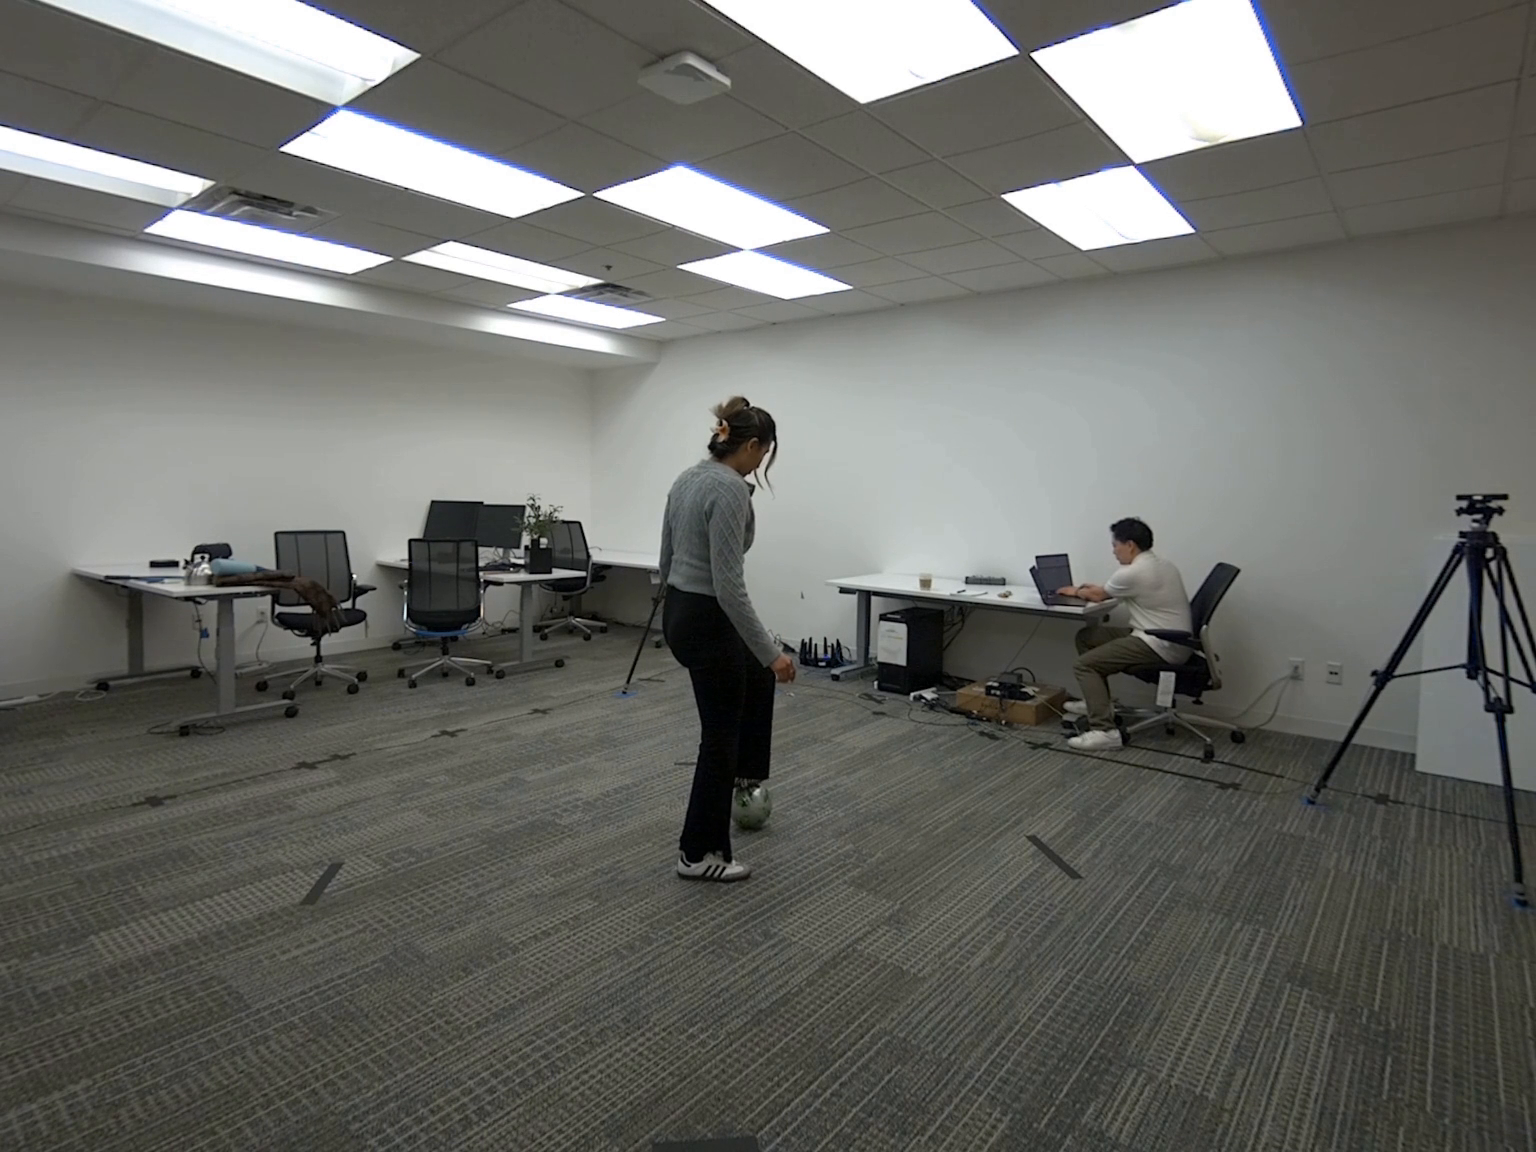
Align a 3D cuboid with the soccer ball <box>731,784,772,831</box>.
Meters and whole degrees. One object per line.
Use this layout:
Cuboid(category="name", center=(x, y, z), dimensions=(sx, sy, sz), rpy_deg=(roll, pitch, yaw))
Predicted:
Cuboid(category="soccer ball", center=(-0.090, 0.935, 3.499), dimensions=(0.187, 0.187, 0.188), rpy_deg=(1, 4, -2))
